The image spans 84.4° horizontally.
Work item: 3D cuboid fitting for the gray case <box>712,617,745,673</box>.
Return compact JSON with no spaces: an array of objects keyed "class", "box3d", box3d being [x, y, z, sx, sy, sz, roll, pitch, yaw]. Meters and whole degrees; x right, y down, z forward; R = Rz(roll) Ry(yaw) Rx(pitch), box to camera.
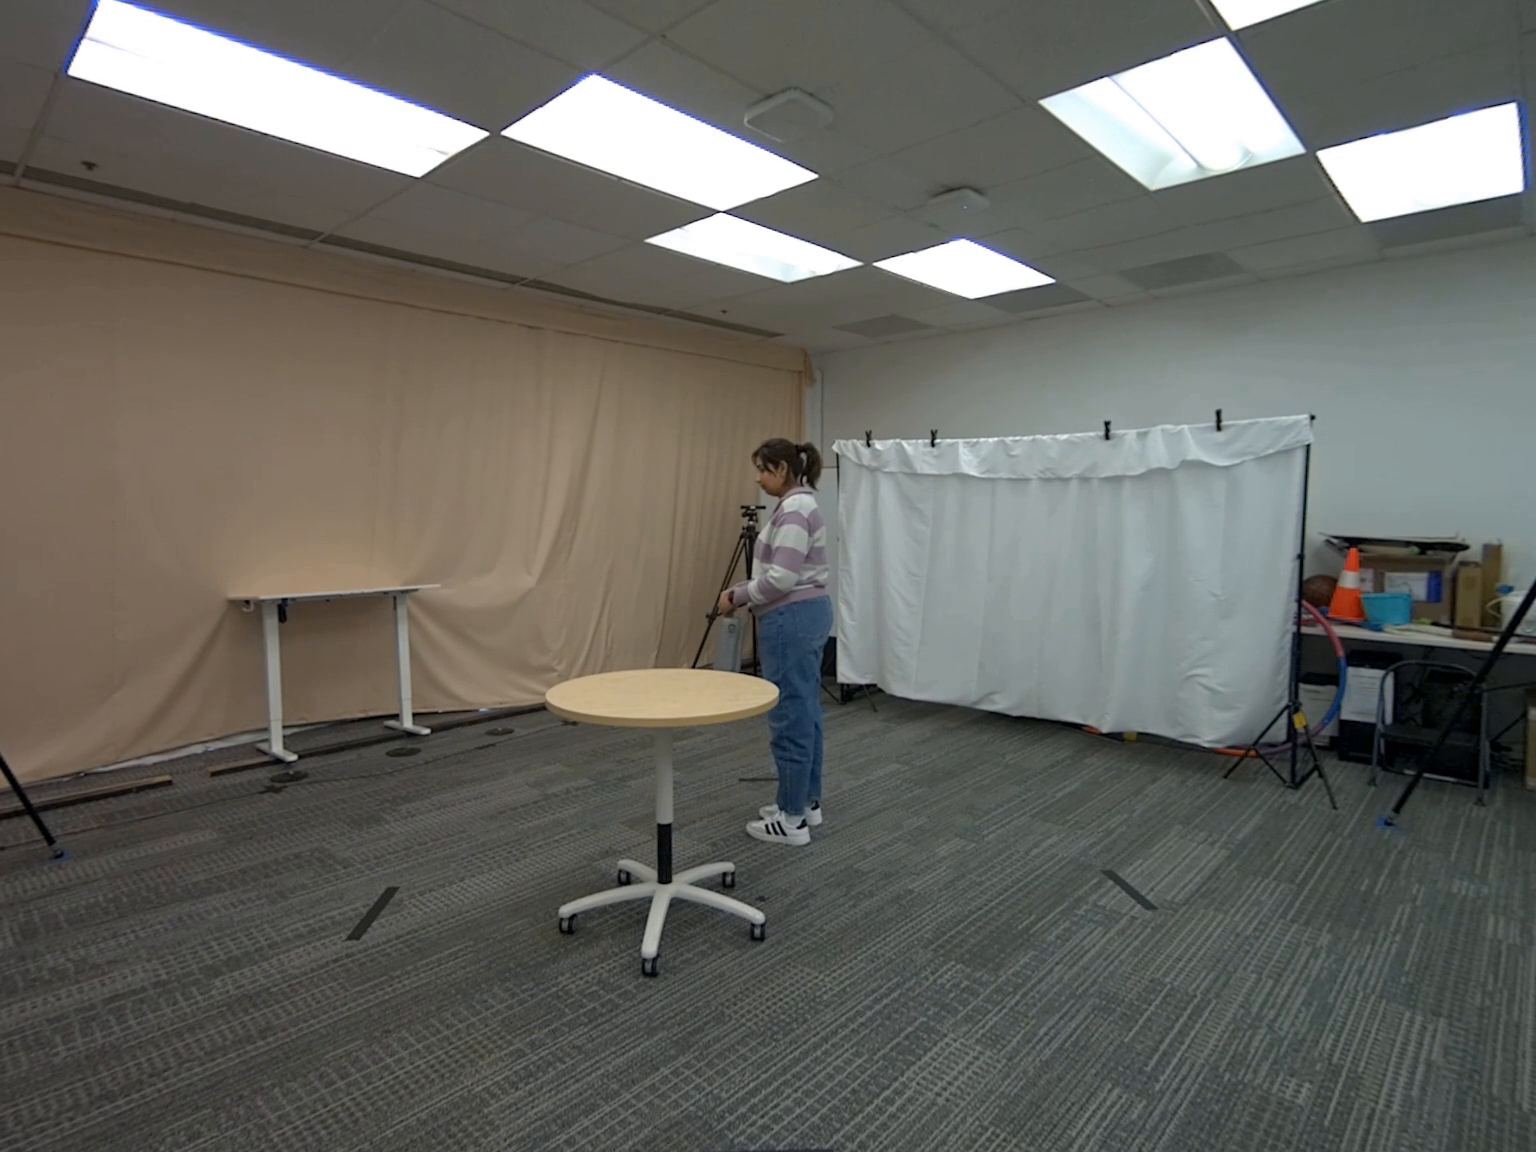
[{"class":"gray case","box3d":[-0.169,0.300,3.650,0.103,0.261,0.258,6,-5,-9]}]
